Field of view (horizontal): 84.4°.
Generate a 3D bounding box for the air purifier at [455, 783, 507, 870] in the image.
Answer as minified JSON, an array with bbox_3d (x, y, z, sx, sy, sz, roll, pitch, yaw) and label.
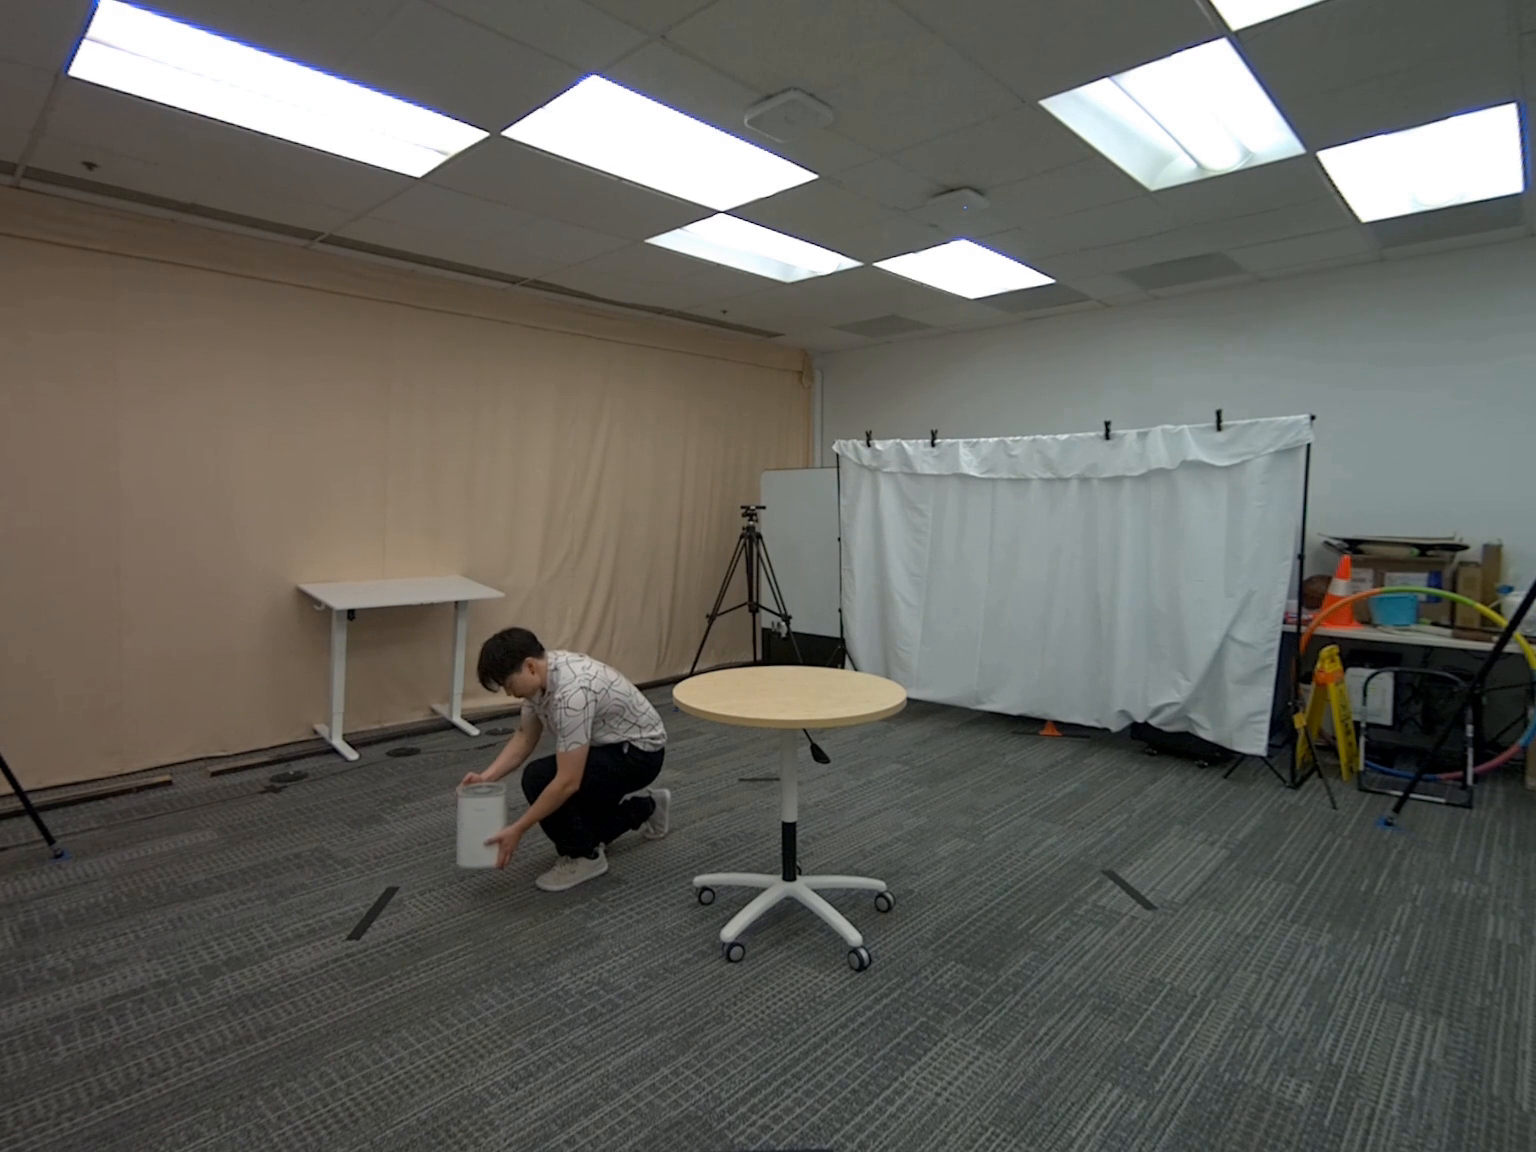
[{"bbox_3d":[-1.026,0.892,3.002,0.169,0.265,0.174,1,1,-13],"label":"air purifier"}]
